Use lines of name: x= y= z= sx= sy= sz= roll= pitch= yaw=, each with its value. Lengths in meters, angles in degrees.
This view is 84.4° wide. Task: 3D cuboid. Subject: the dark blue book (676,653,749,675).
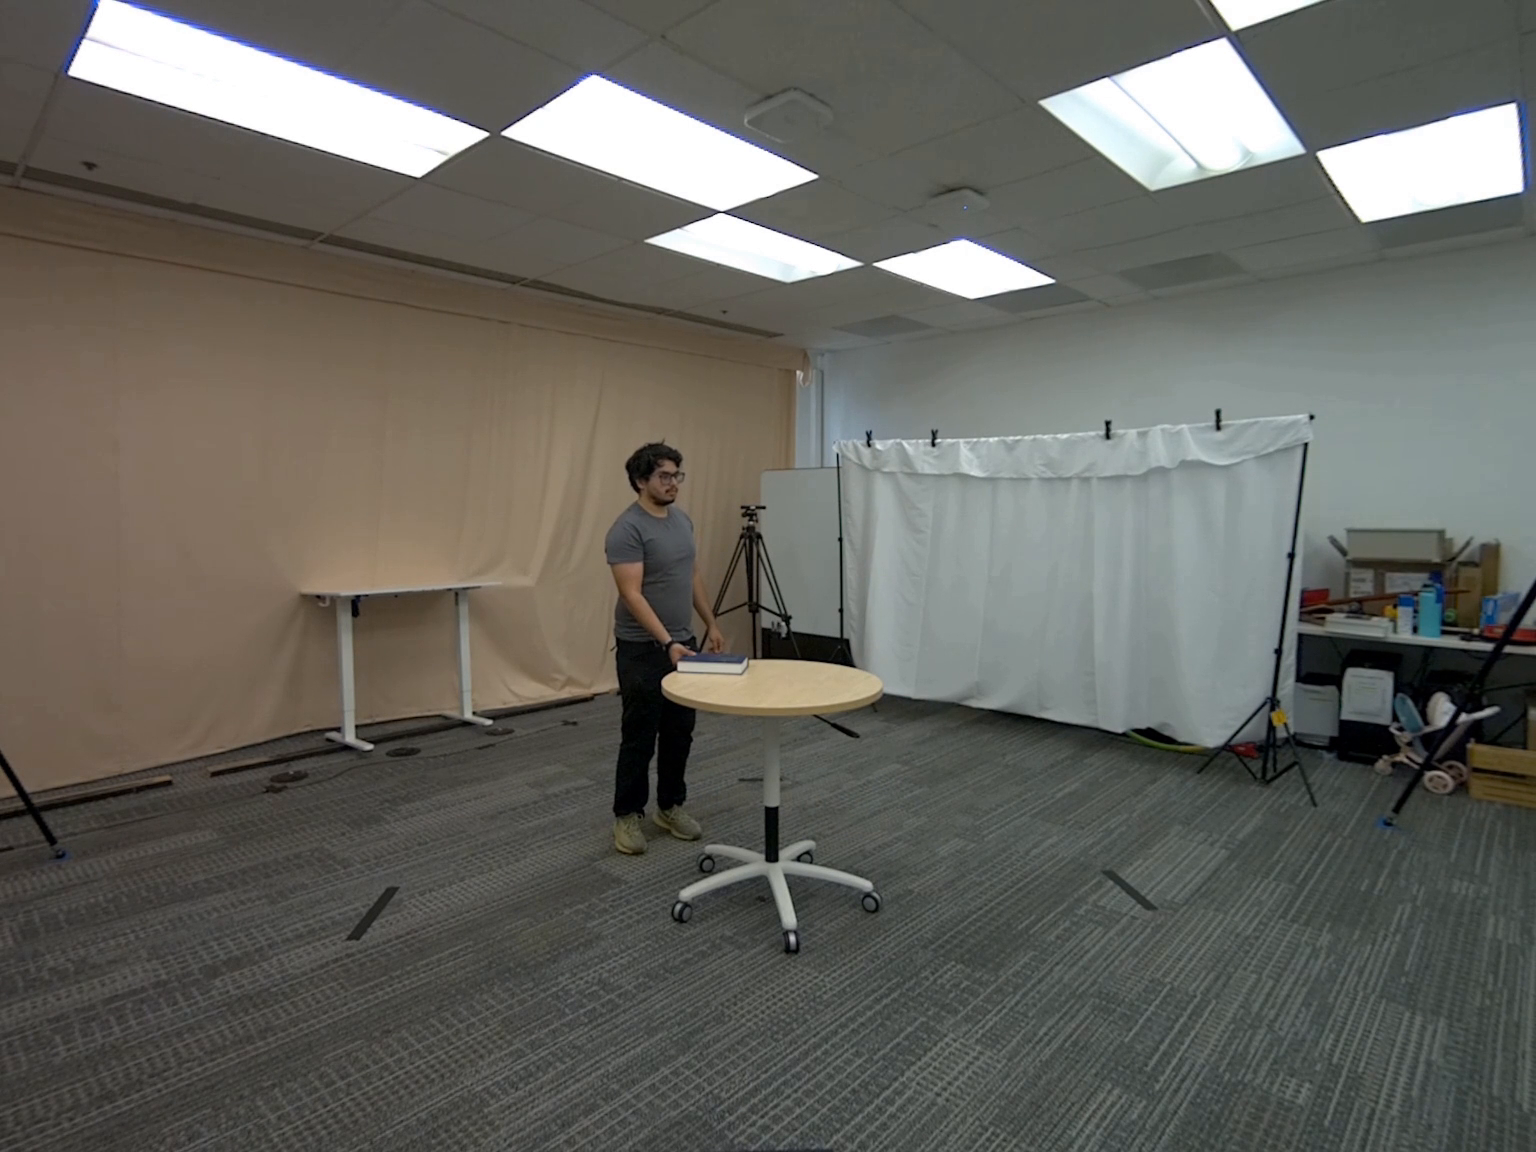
dark blue book: x=-0.195 y=0.326 z=3.138 sx=0.248 sy=0.045 sz=0.162 roll=1 pitch=6 yaw=9
